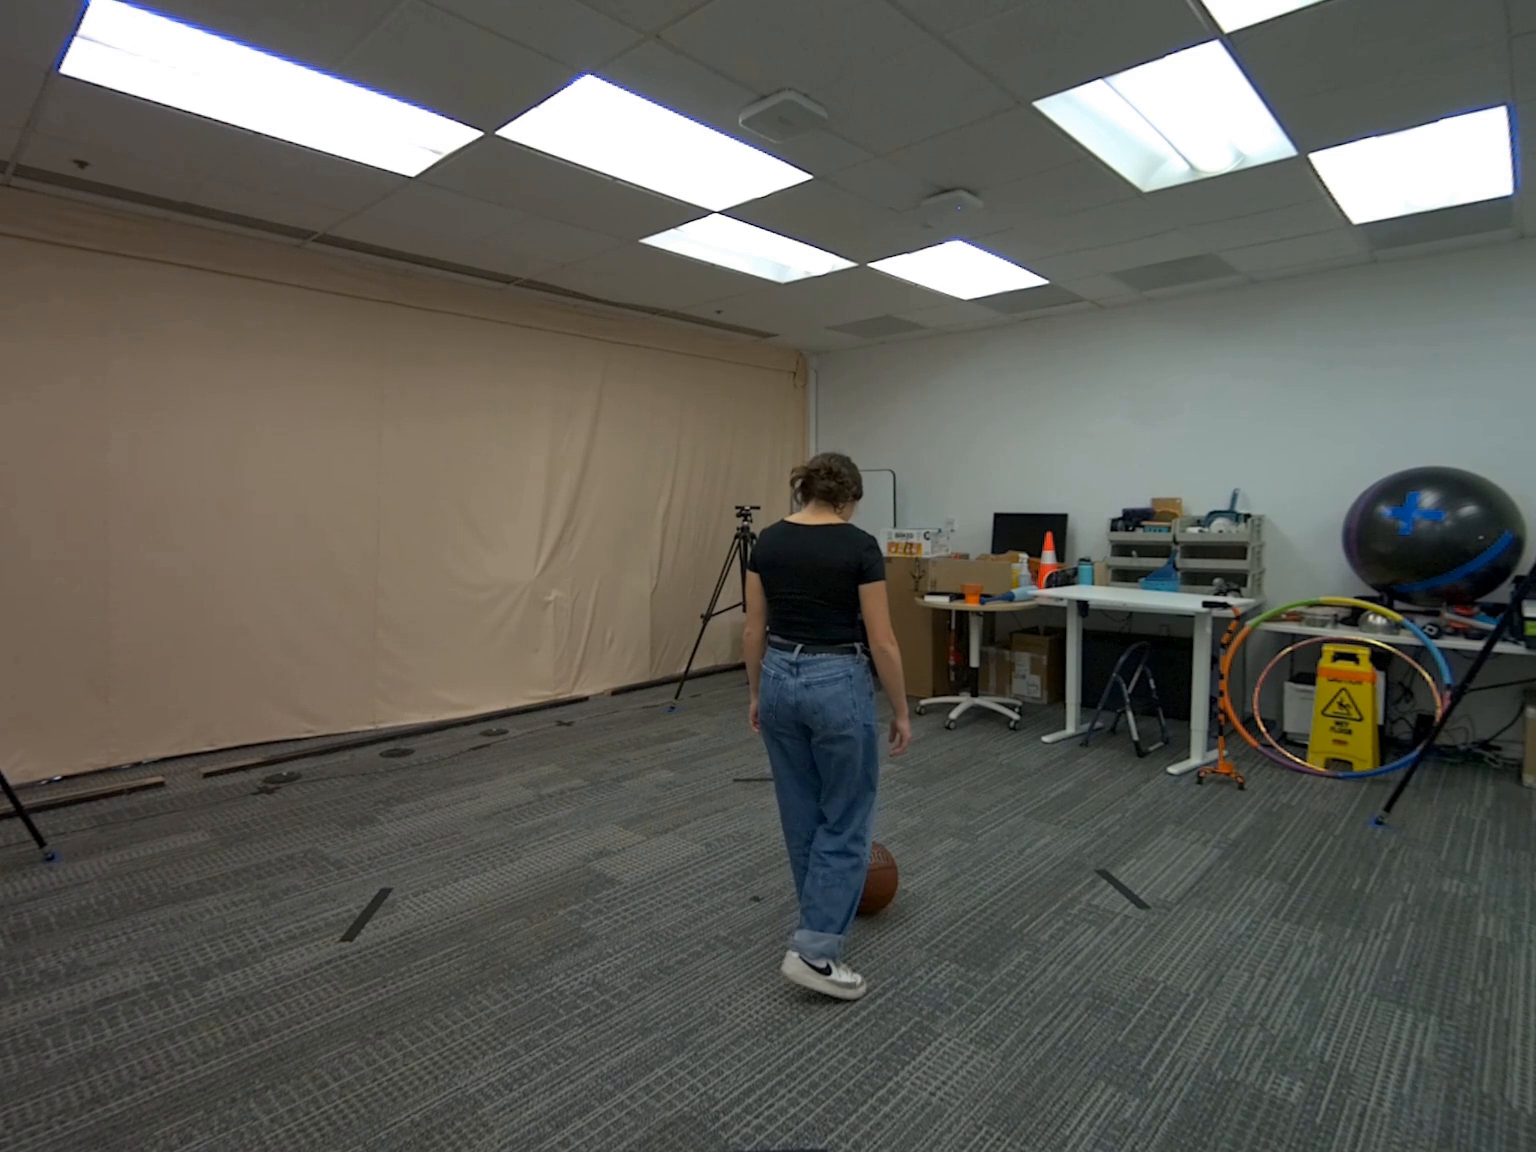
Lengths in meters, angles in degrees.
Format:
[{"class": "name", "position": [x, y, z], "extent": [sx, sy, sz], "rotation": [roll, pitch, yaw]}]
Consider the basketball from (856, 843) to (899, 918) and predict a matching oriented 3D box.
[{"class": "basketball", "position": [0.331, 1.032, 2.895], "extent": [0.236, 0.235, 0.237], "rotation": [0, 4, -2]}]
